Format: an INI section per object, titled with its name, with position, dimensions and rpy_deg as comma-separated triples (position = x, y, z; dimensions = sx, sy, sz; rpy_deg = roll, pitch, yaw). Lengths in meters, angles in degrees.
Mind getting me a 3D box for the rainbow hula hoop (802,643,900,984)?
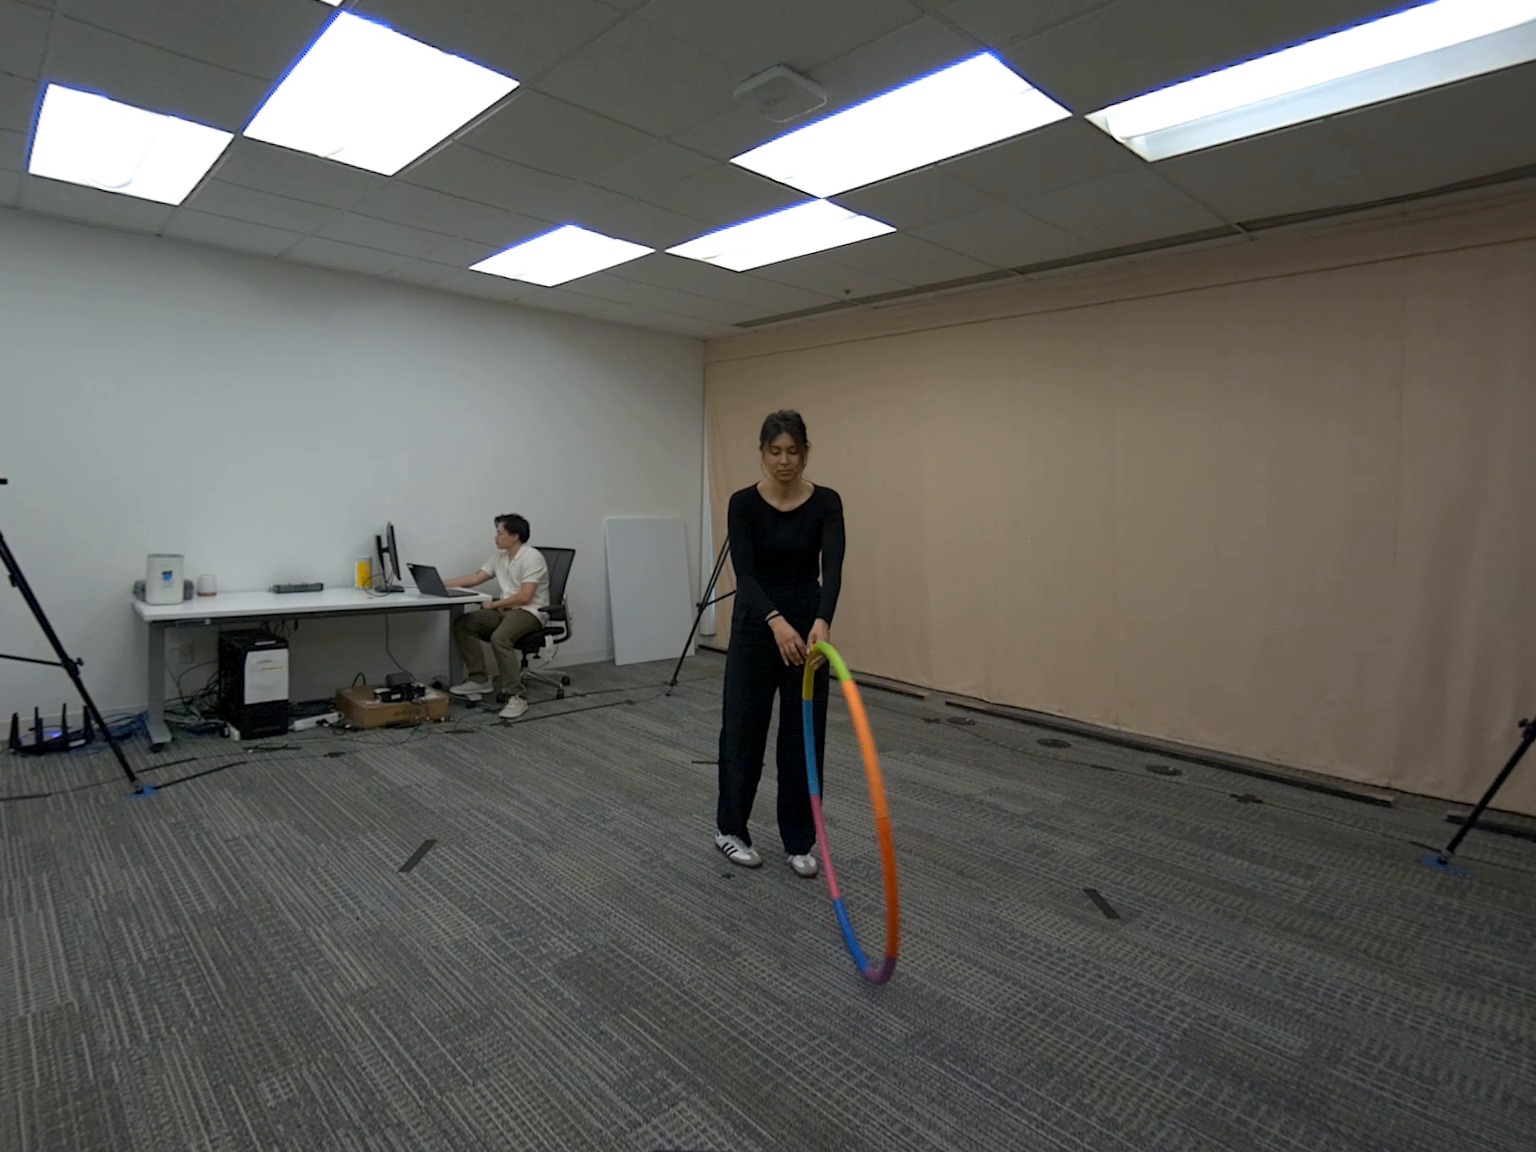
[rainbow hula hoop]
position = 0.217, 0.689, 2.539
dimensions = 0.035, 0.975, 0.987
rpy_deg = -7, 5, -7
